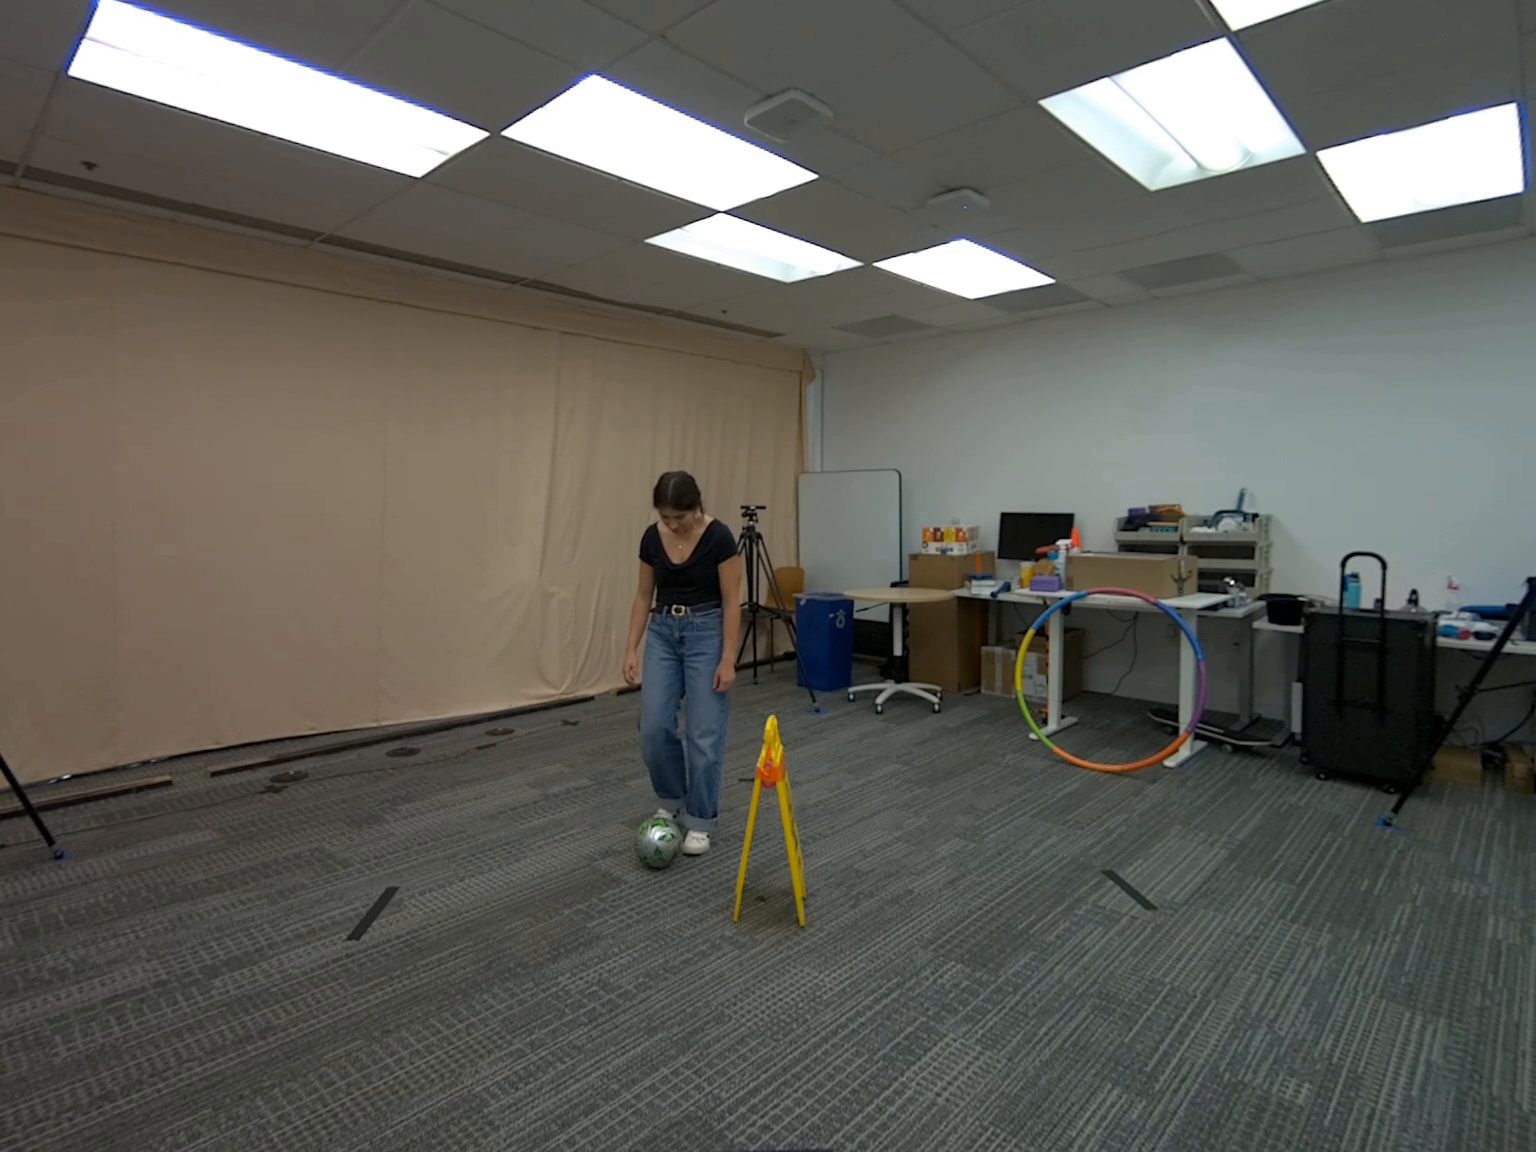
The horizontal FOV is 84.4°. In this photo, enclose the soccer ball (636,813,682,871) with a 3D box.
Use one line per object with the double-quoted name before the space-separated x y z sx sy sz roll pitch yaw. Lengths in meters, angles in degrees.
"soccer ball" -0.423 1.025 3.257 0.187 0.187 0.188 0 4 -2
